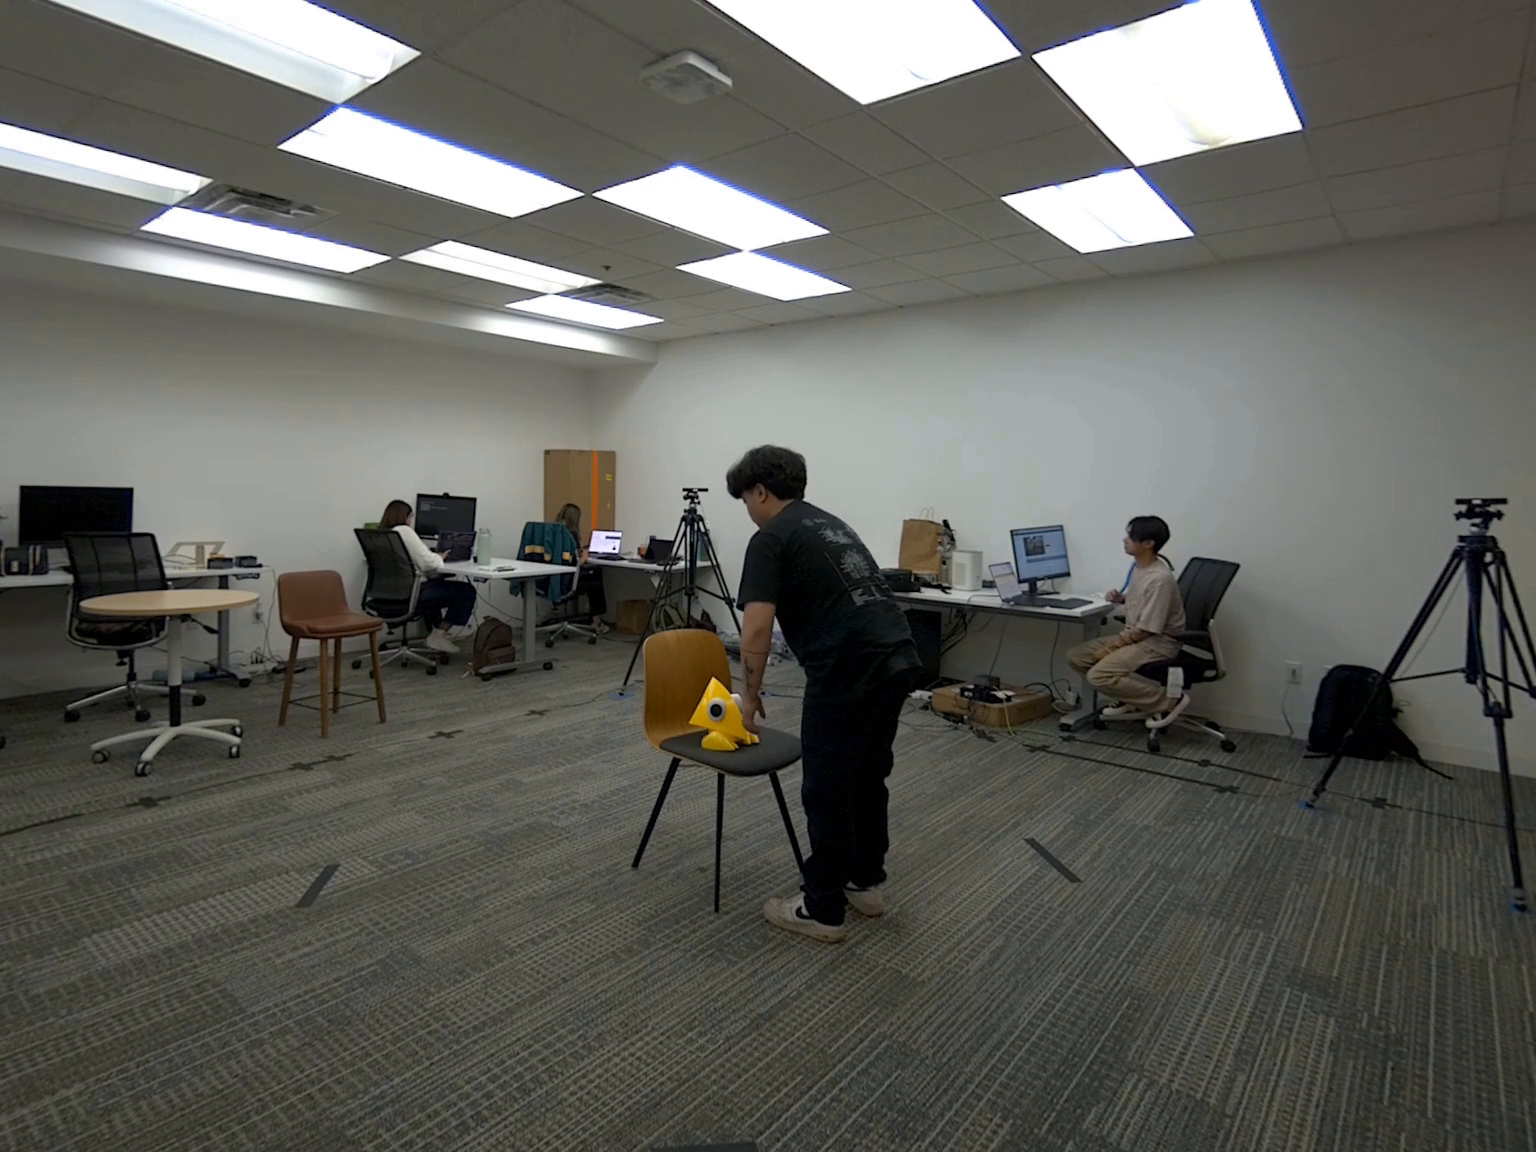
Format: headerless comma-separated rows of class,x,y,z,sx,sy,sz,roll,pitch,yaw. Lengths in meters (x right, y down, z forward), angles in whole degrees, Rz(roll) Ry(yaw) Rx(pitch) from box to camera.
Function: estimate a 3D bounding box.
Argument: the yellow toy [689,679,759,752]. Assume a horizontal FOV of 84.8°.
yellow toy,-0.161,0.485,3.055,0.199,0.231,0.198,-2,0,44
